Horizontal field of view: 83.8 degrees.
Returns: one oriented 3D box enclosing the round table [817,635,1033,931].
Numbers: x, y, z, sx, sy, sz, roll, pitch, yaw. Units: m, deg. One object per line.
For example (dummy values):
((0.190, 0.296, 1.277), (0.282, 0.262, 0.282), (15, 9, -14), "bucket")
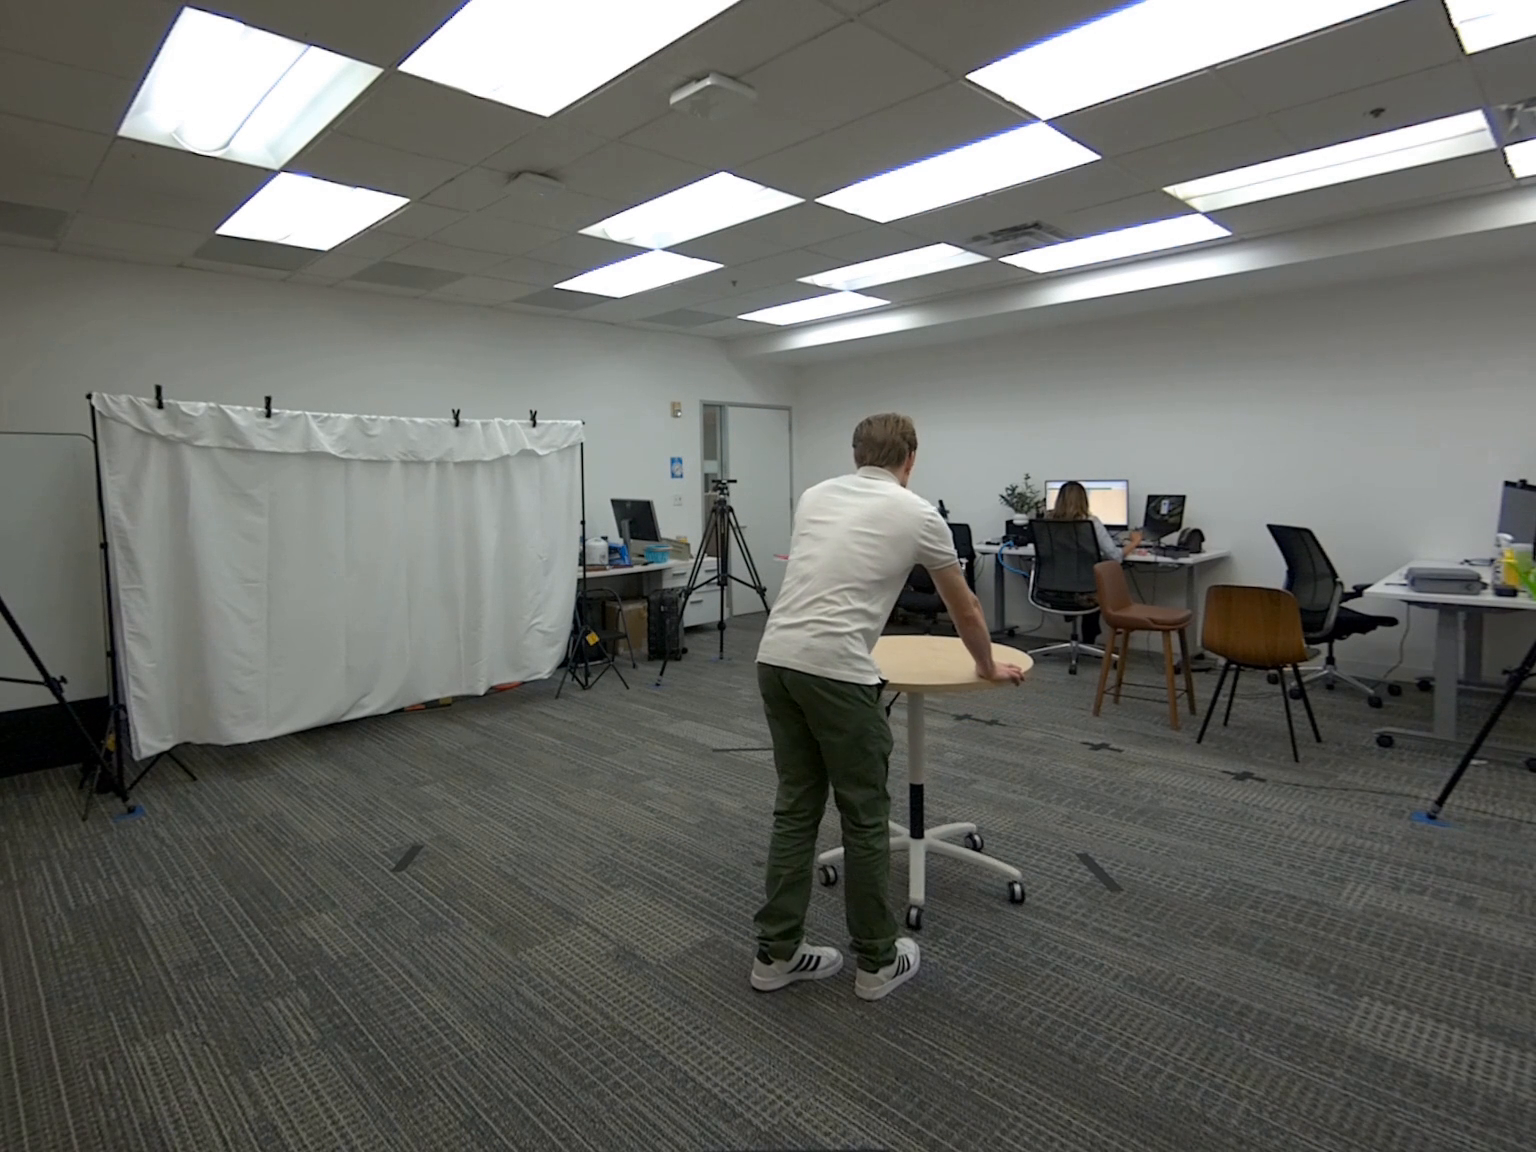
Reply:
((0.524, 0.669, 2.971), (0.763, 0.790, 0.768), (-1, 5, -2), "round table")
